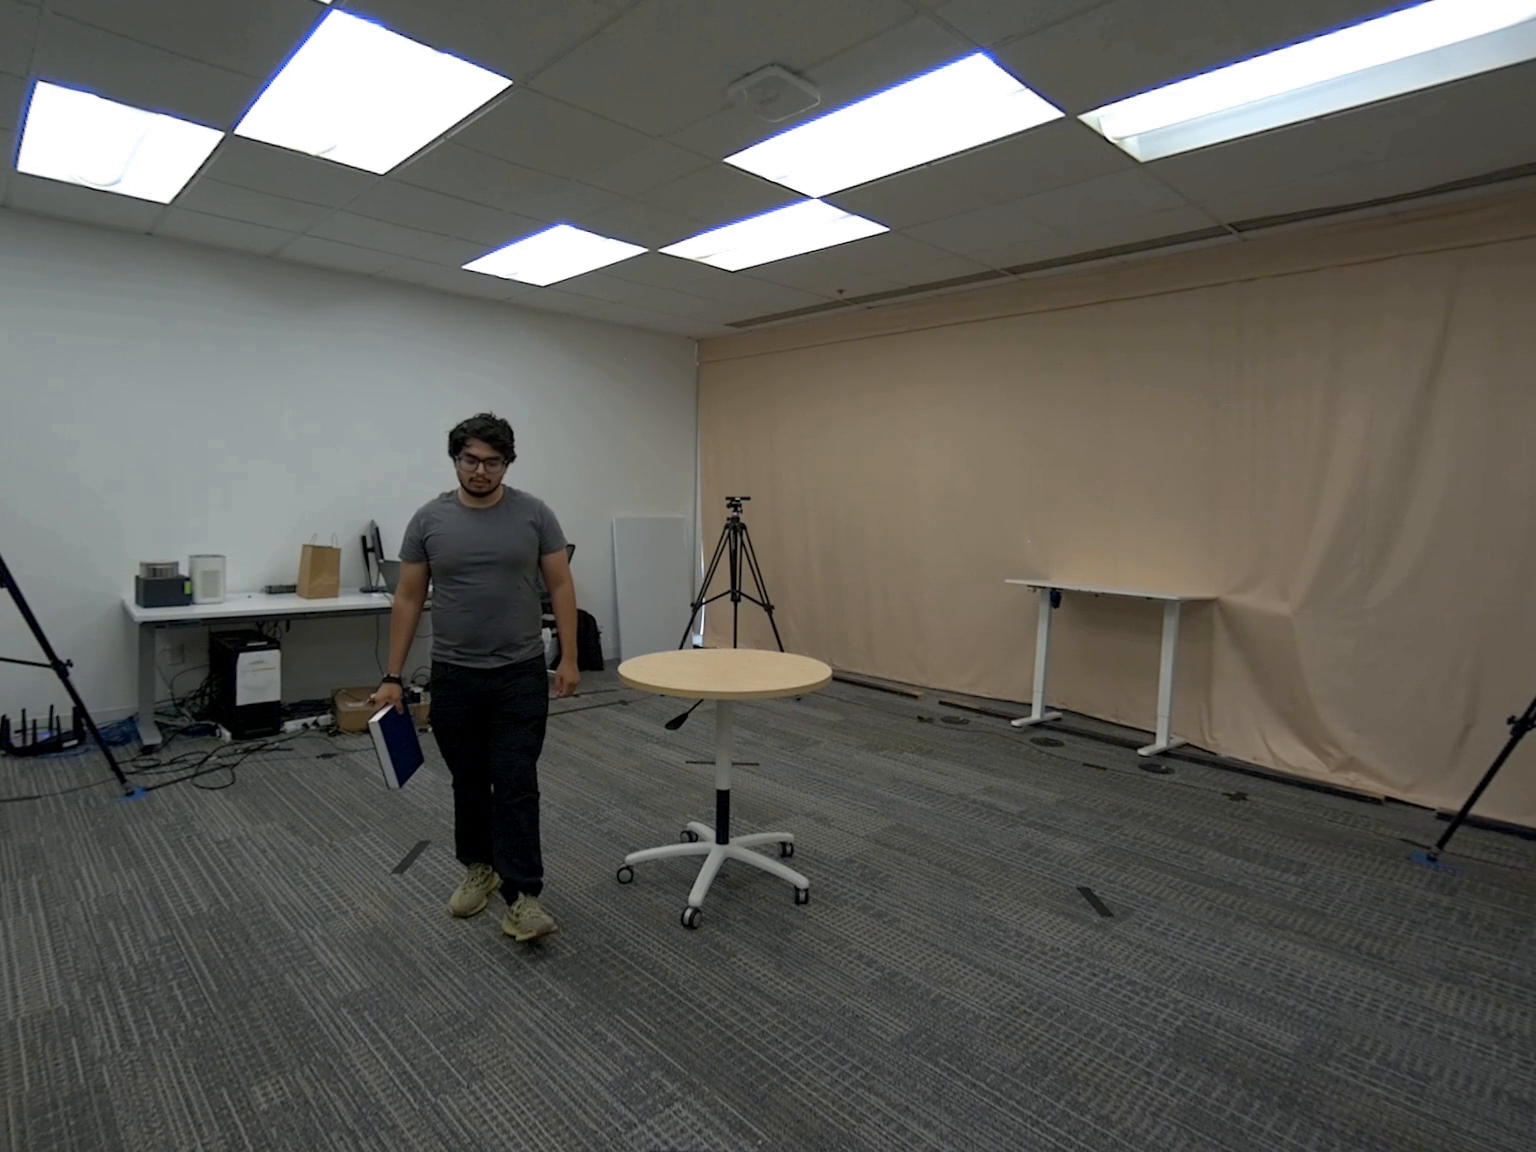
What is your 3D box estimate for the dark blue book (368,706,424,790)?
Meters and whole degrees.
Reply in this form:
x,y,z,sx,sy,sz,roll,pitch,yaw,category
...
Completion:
x,y,z,sx,sy,sz,roll,pitch,yaw,category
-1.192,0.530,2.697,0.045,0.242,0.164,-5,17,12,dark blue book
